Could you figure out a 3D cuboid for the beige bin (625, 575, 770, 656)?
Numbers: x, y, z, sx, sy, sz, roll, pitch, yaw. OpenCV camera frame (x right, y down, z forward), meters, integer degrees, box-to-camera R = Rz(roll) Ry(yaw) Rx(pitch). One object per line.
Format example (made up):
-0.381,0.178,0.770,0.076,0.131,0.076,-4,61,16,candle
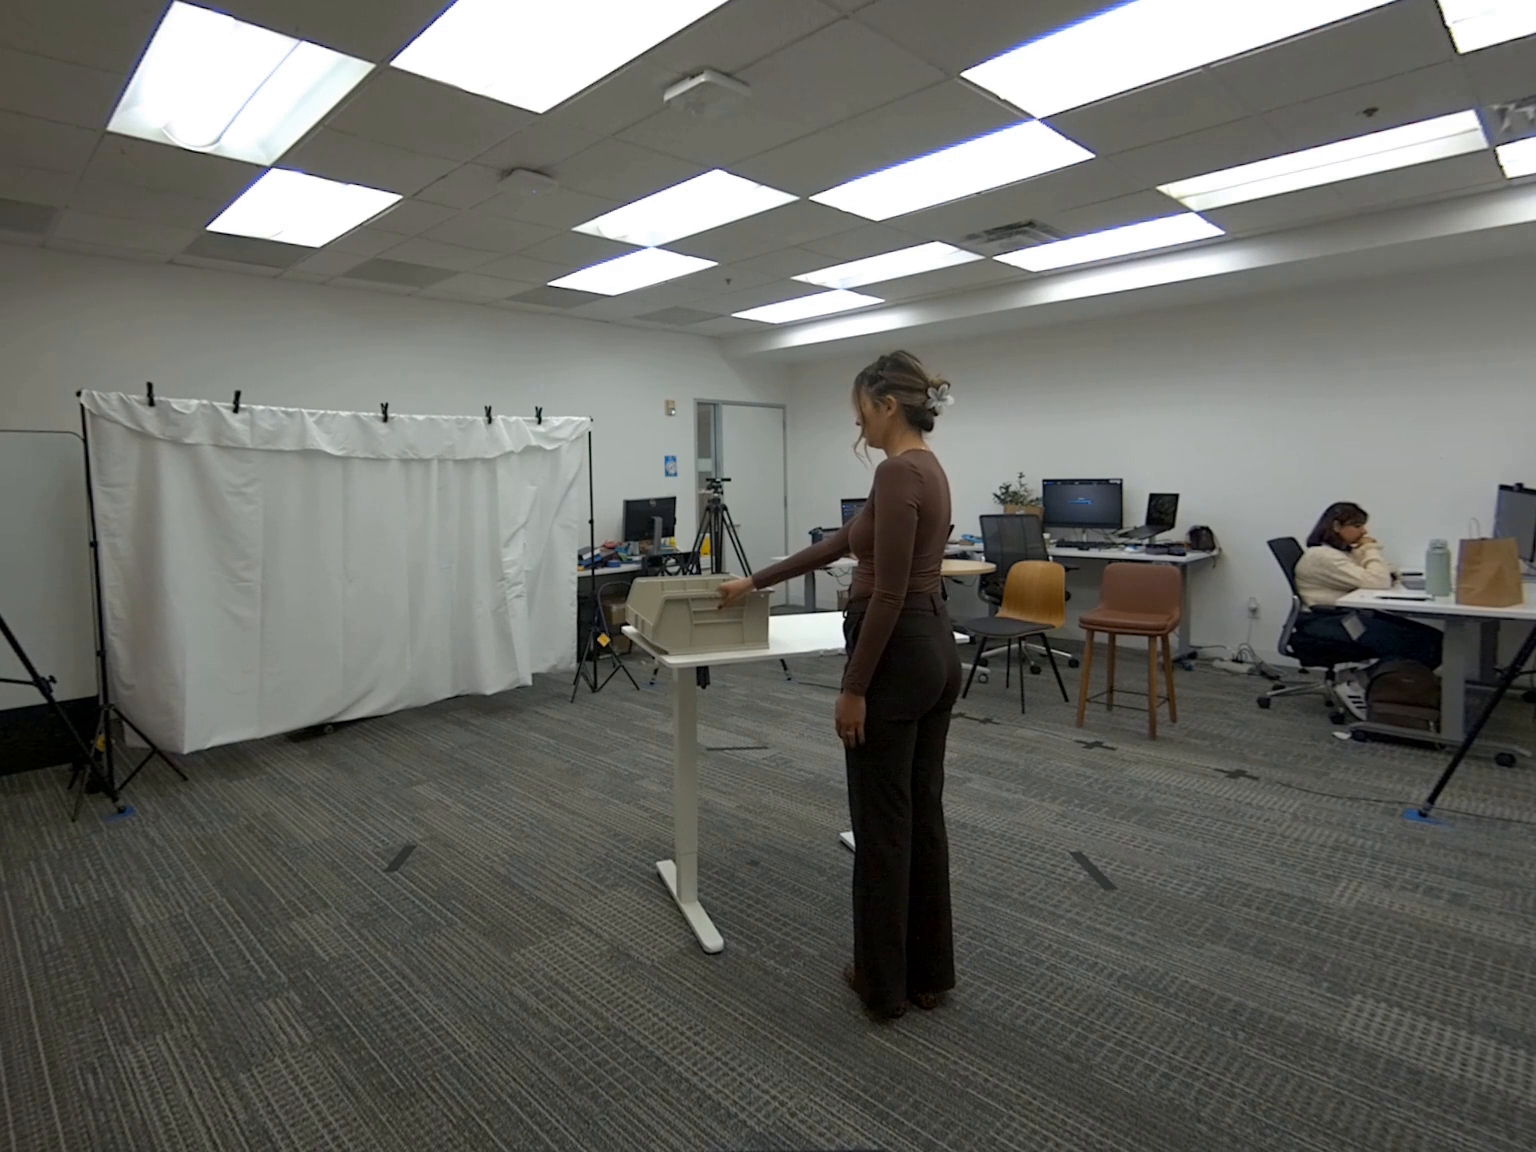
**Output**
-0.230,0.115,2.714,0.371,0.188,0.431,-1,6,-19,beige bin
